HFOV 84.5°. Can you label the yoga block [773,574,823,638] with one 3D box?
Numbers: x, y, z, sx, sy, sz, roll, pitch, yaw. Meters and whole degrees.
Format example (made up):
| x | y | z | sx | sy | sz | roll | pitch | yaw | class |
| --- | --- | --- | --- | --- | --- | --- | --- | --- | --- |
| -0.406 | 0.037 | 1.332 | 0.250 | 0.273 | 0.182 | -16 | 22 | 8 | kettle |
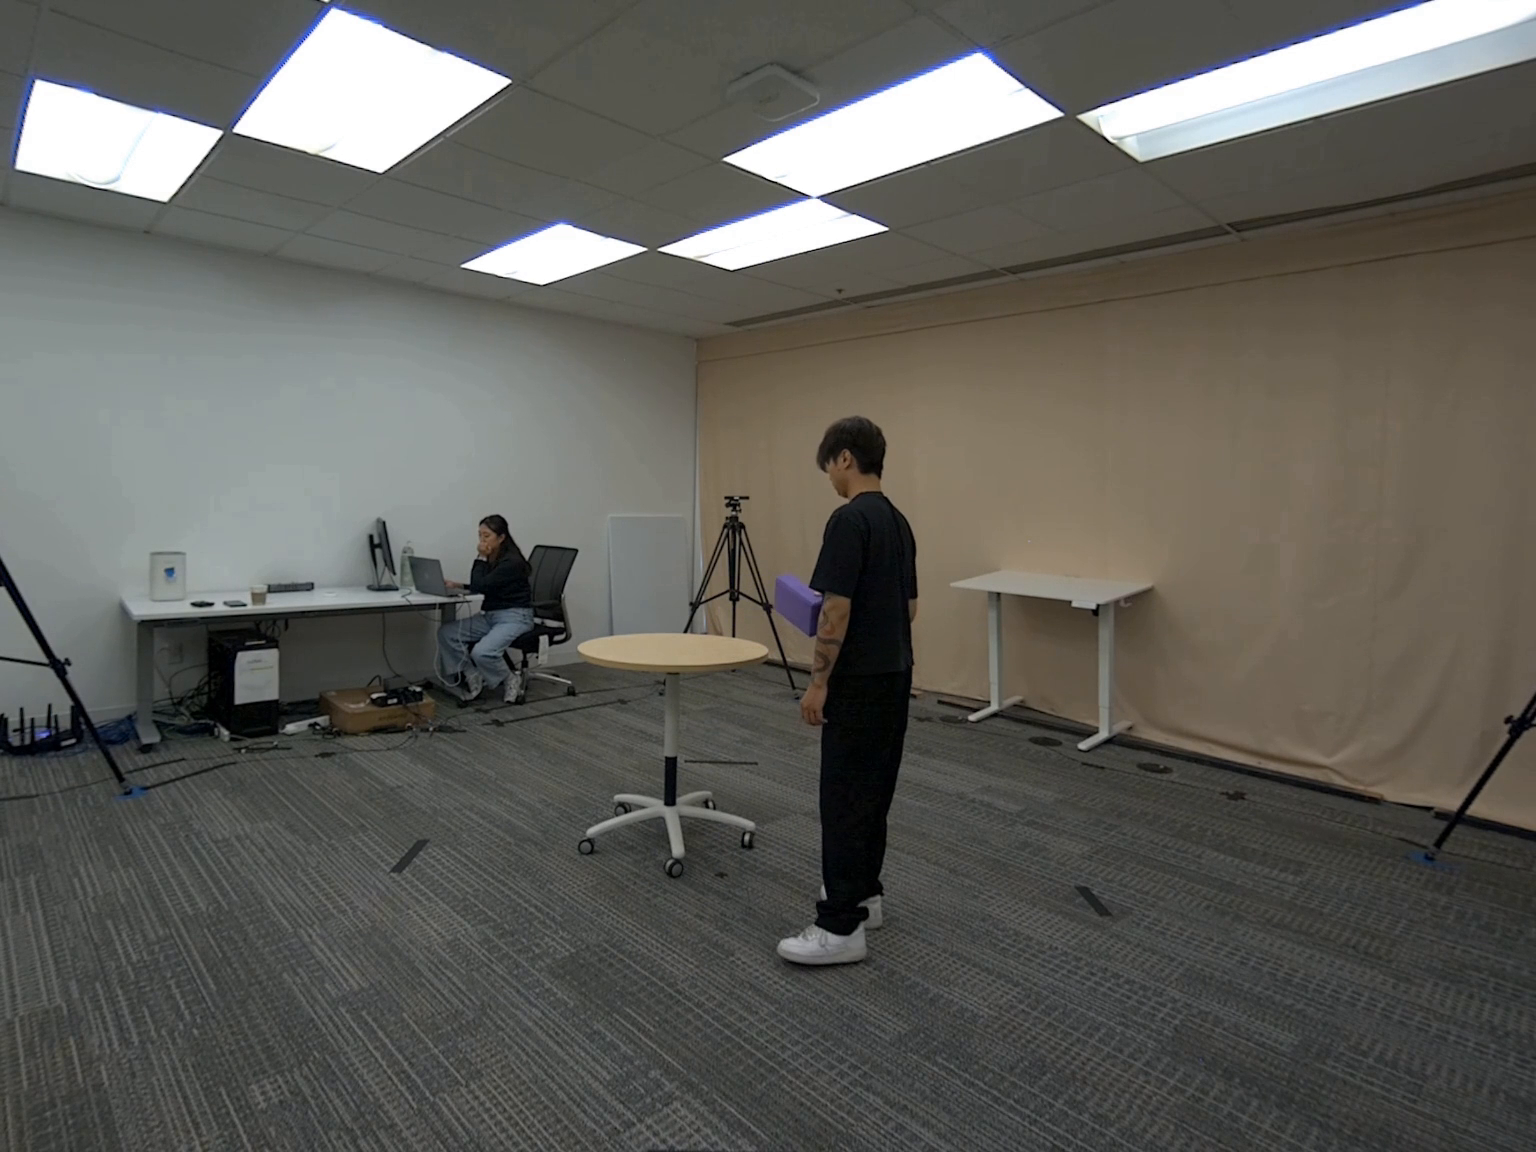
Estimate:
| x | y | z | sx | sy | sz | roll | pitch | yaw | class |
| --- | --- | --- | --- | --- | --- | --- | --- | --- | --- |
| 0.111 | 0.106 | 3.108 | 0.075 | 0.146 | 0.237 | -15 | 34 | -30 | yoga block |
